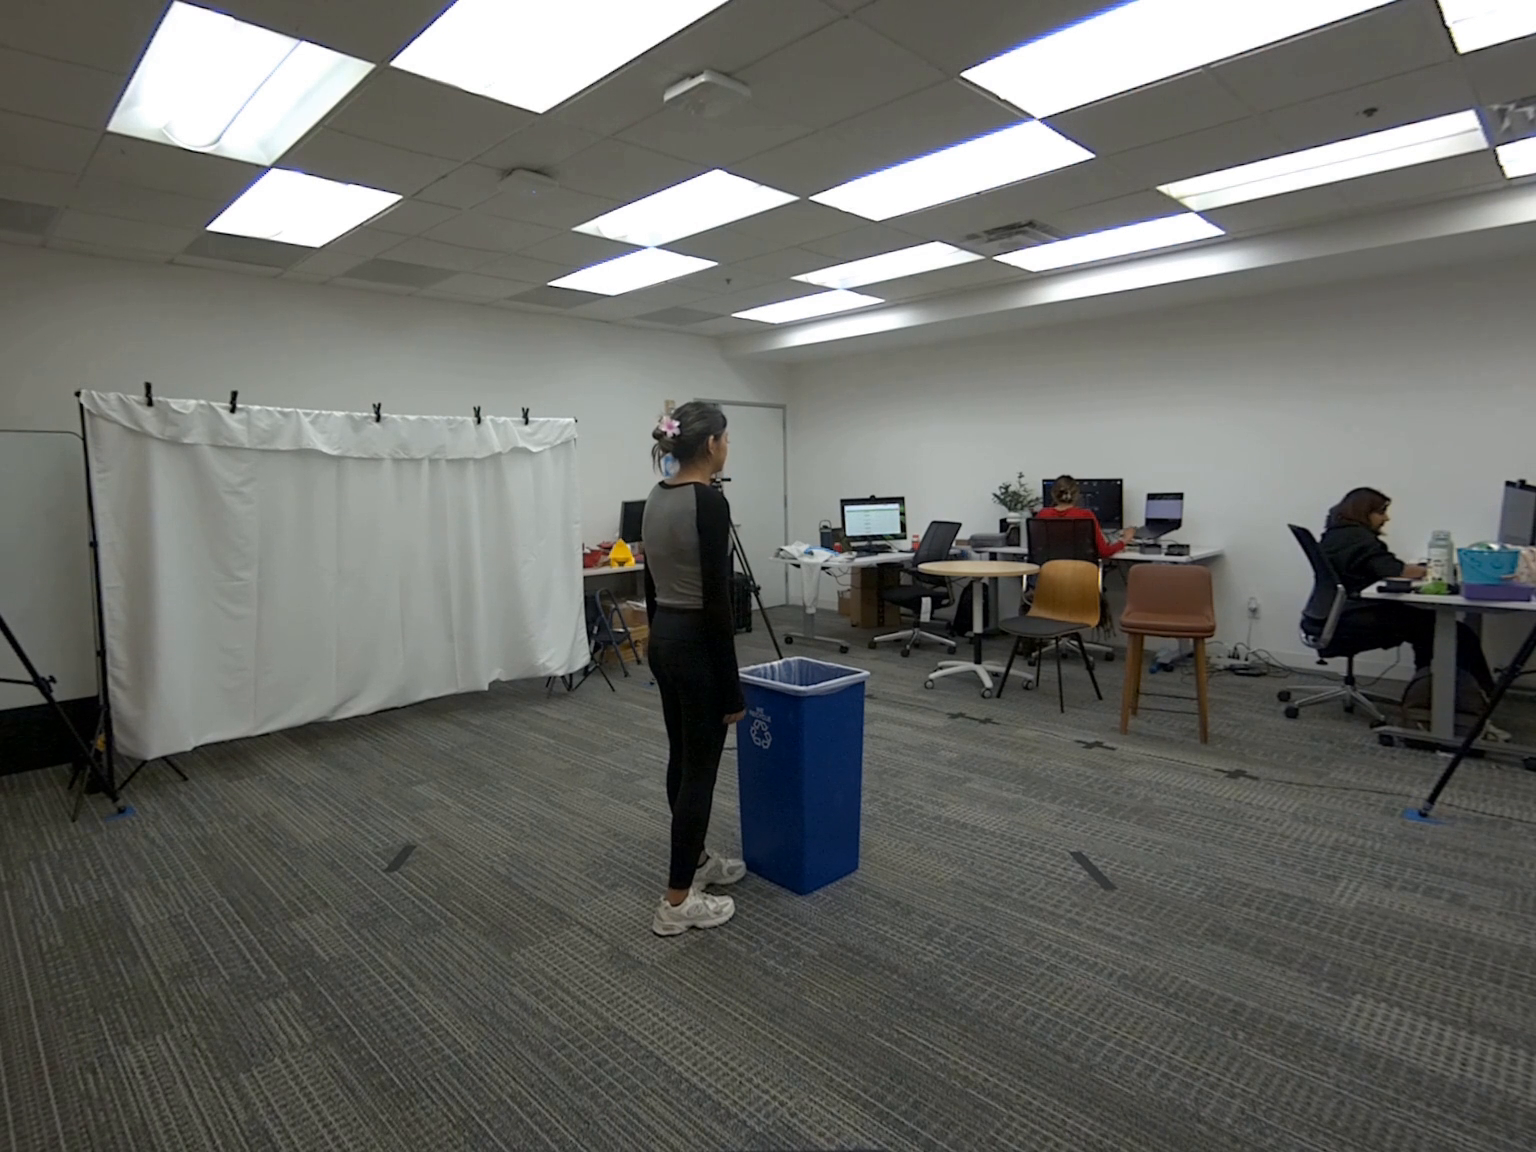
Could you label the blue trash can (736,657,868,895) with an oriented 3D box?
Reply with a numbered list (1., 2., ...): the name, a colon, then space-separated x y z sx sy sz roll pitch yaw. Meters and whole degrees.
1. blue trash can: 0.123 0.690 3.032 0.368 0.711 0.385 -5 6 -43
